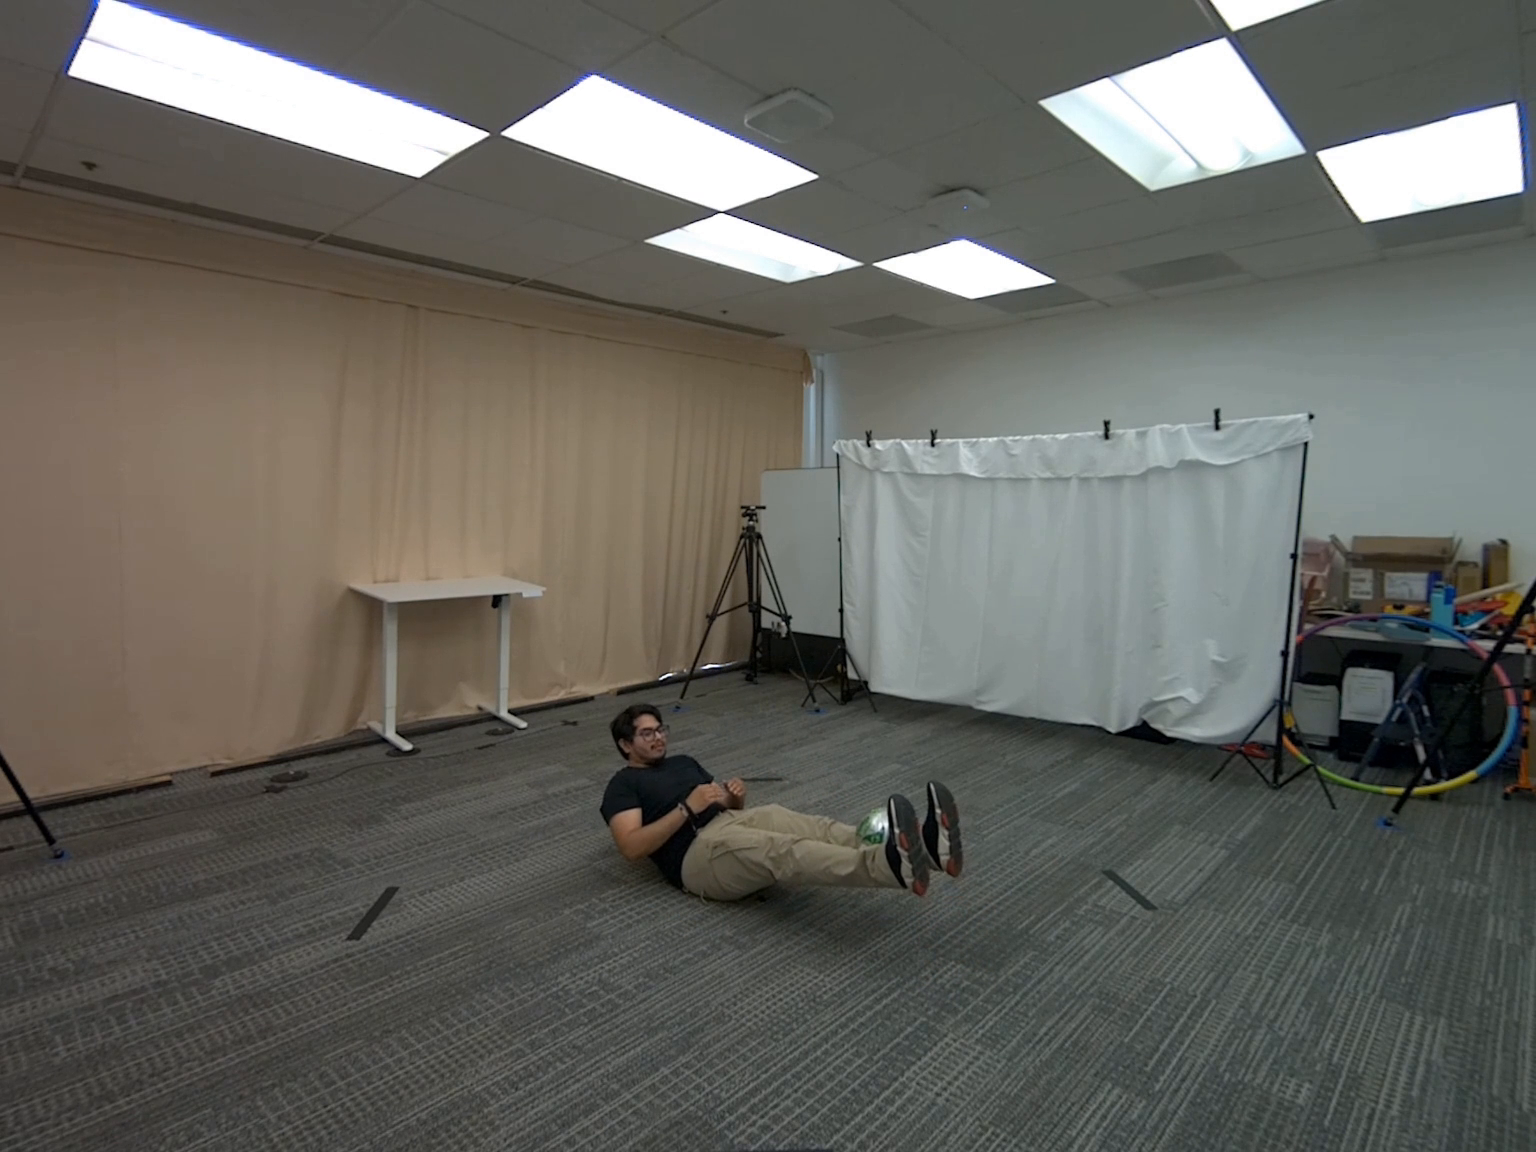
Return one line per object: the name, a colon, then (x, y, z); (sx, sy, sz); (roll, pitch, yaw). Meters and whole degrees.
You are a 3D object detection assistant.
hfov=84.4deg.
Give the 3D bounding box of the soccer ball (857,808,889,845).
soccer ball: (0.388, 0.846, 2.674); (0.187, 0.187, 0.188); (0, 4, -2)
